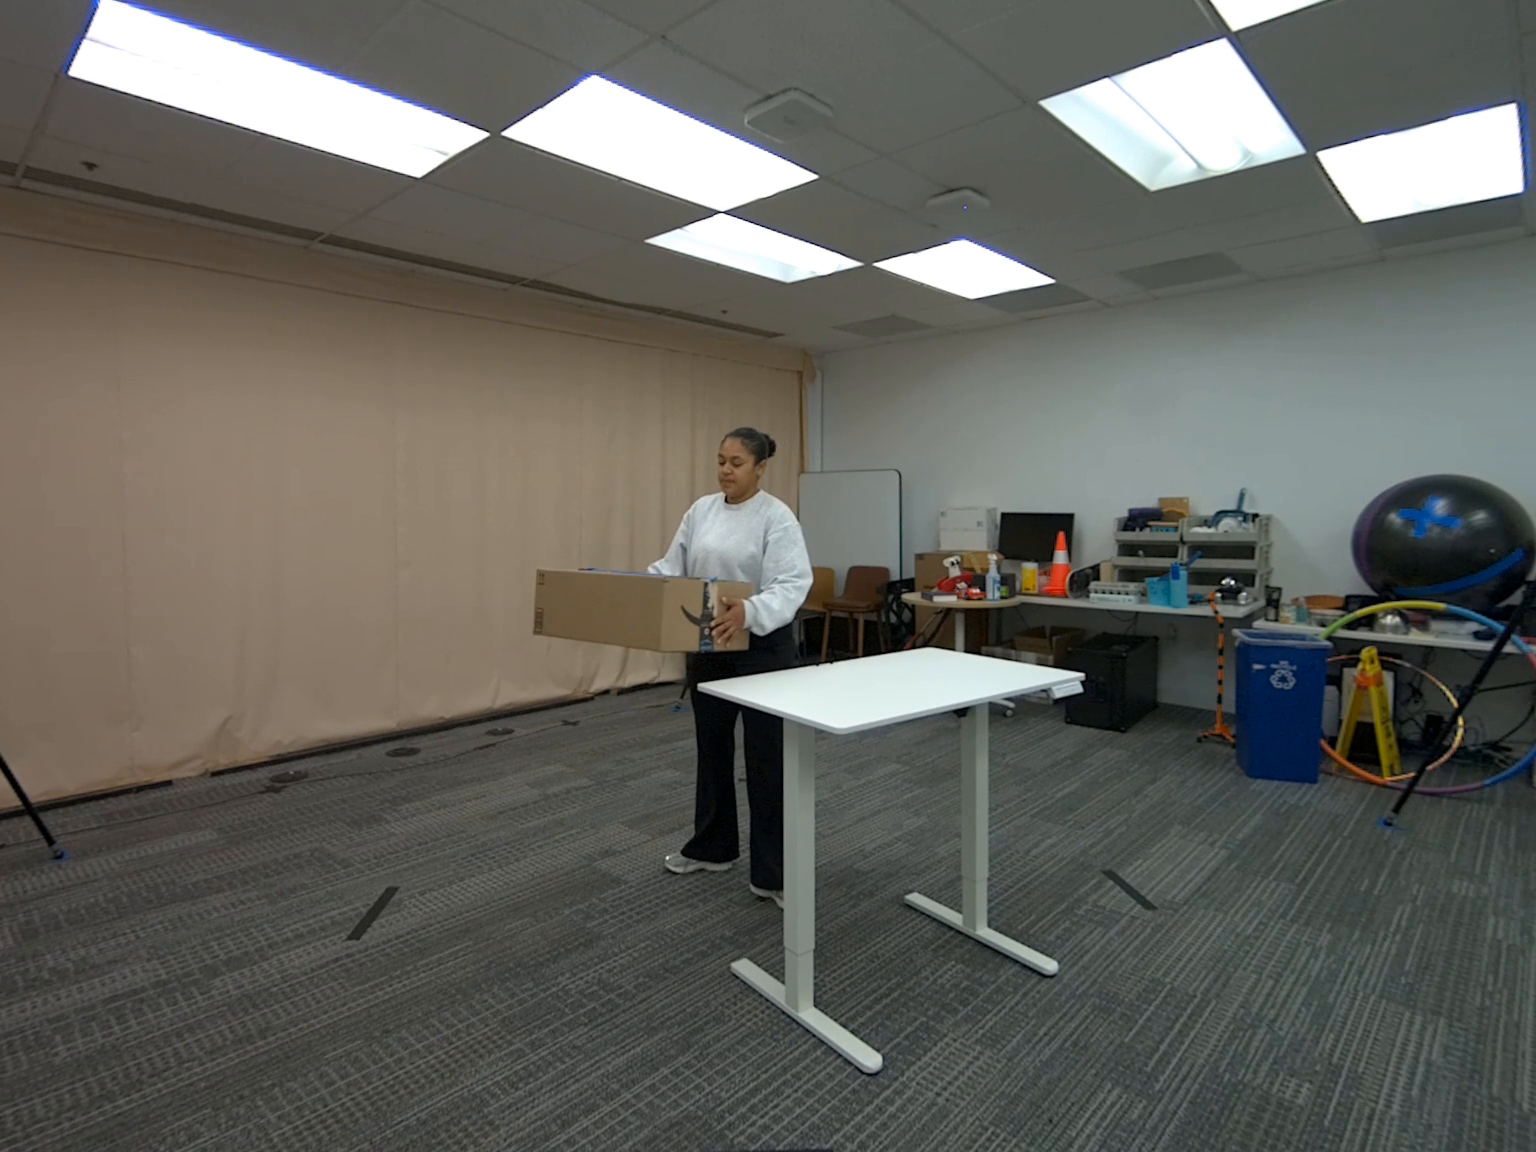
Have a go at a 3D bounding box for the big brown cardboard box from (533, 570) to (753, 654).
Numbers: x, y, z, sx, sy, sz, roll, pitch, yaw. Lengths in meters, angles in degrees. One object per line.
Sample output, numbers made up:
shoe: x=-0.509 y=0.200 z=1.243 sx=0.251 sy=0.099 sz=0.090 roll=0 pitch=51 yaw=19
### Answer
big brown cardboard box: x=-0.406 y=0.106 z=2.708 sx=0.608 sy=0.233 sz=0.404 roll=5 pitch=0 yaw=37
